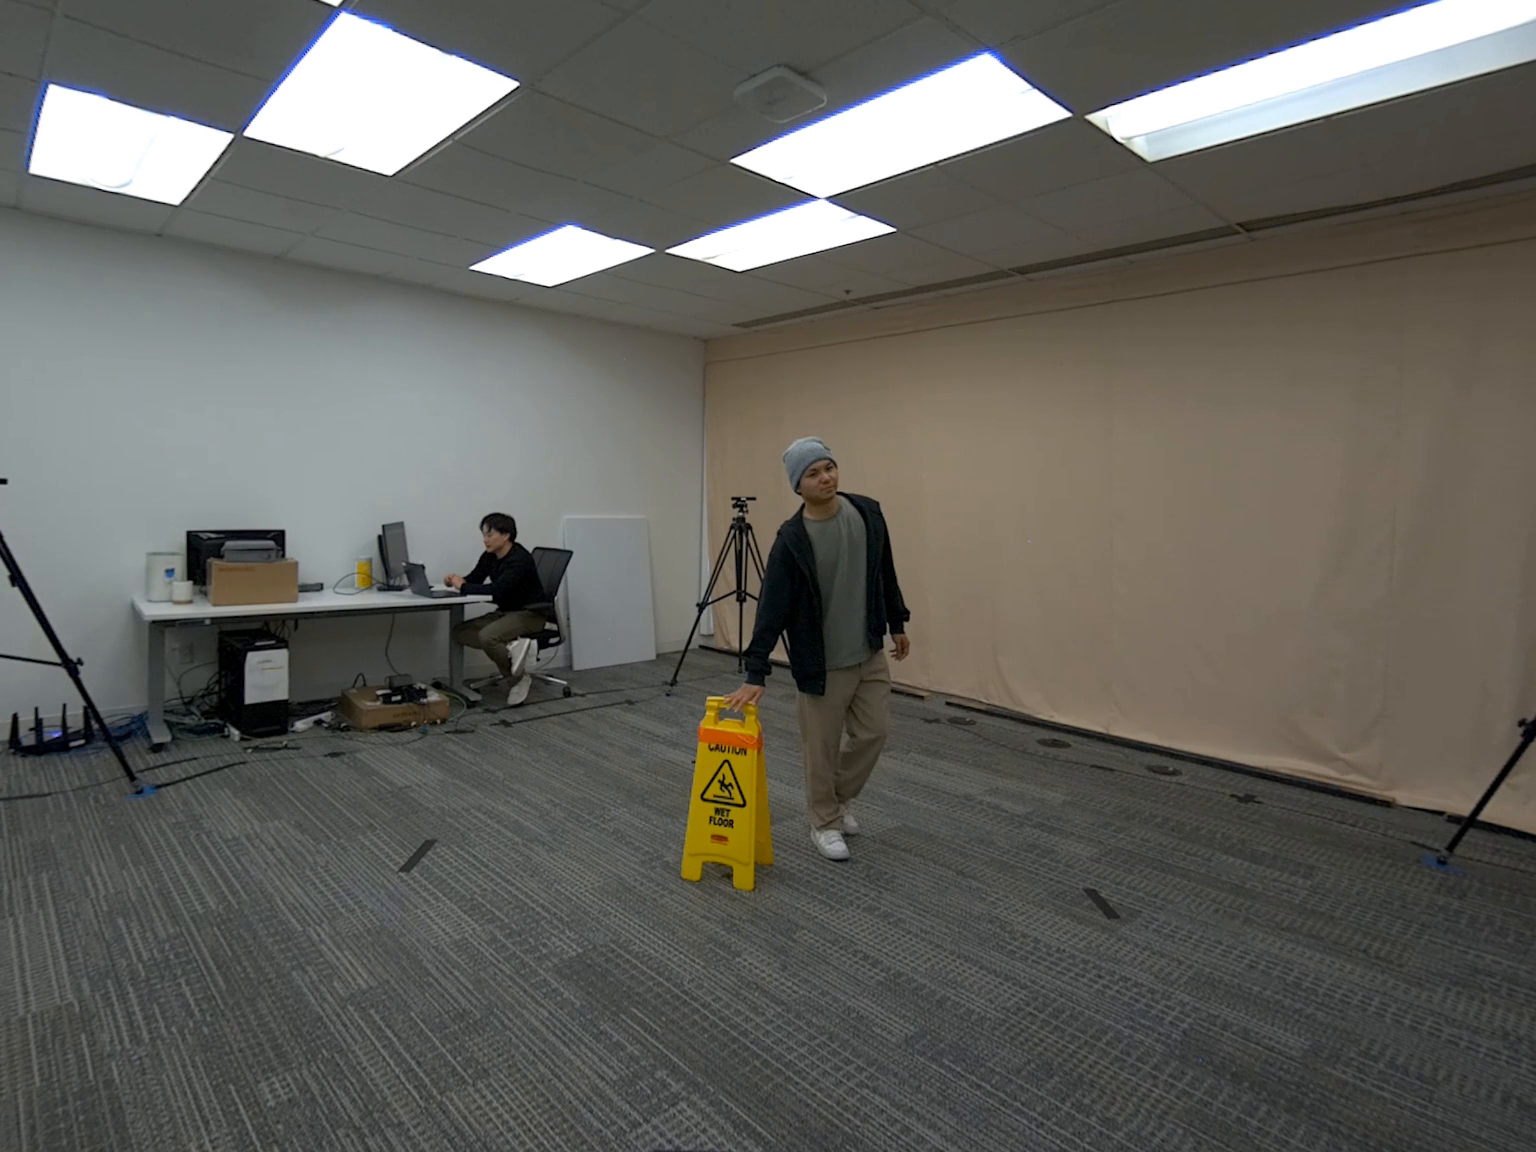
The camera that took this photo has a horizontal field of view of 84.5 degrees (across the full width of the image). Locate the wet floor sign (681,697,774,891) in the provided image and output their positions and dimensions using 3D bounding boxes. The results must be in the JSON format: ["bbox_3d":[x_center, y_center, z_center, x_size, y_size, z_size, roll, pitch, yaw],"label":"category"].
[{"bbox_3d":[-0.146,0.781,3.134,0.286,0.645,0.286,3,3,17],"label":"wet floor sign"}]
